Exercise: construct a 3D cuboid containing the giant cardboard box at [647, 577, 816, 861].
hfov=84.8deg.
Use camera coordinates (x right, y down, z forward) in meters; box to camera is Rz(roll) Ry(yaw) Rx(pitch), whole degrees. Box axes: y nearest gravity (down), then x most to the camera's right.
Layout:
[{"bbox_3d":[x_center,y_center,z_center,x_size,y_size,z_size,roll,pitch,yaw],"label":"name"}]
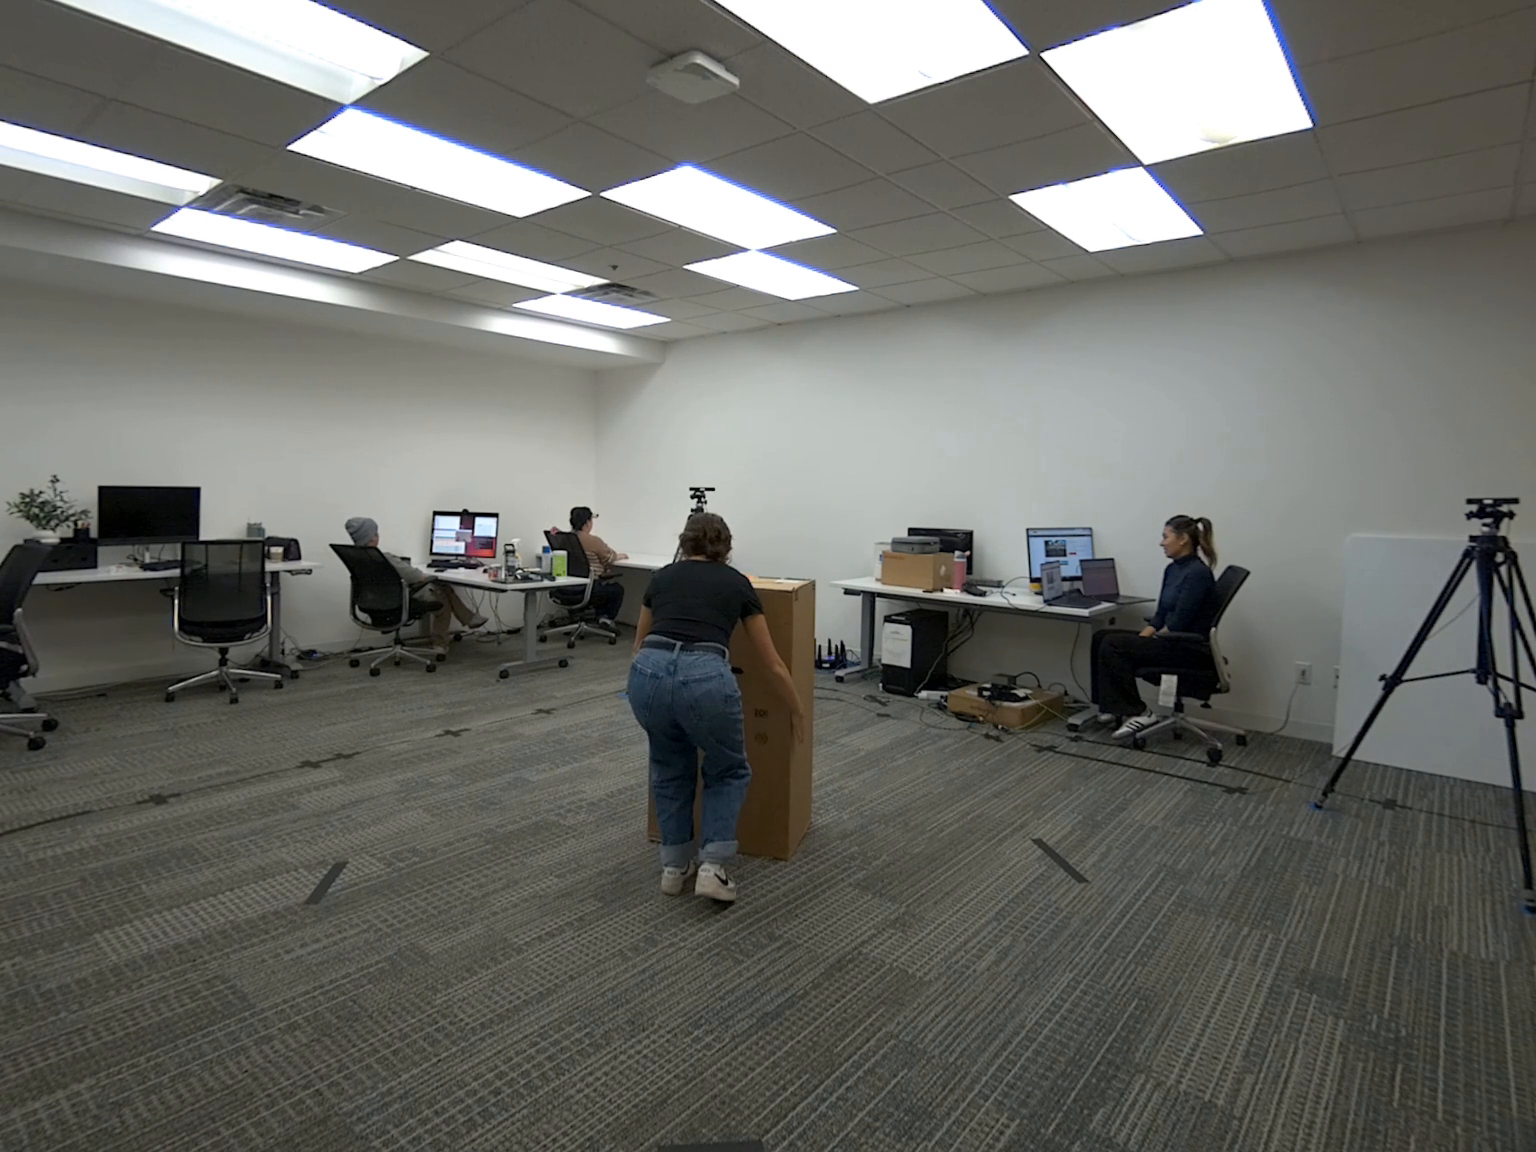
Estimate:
[{"bbox_3d":[-0.142,0.523,3.443,0.588,1.023,0.420,2,3,16],"label":"giant cardboard box"}]
